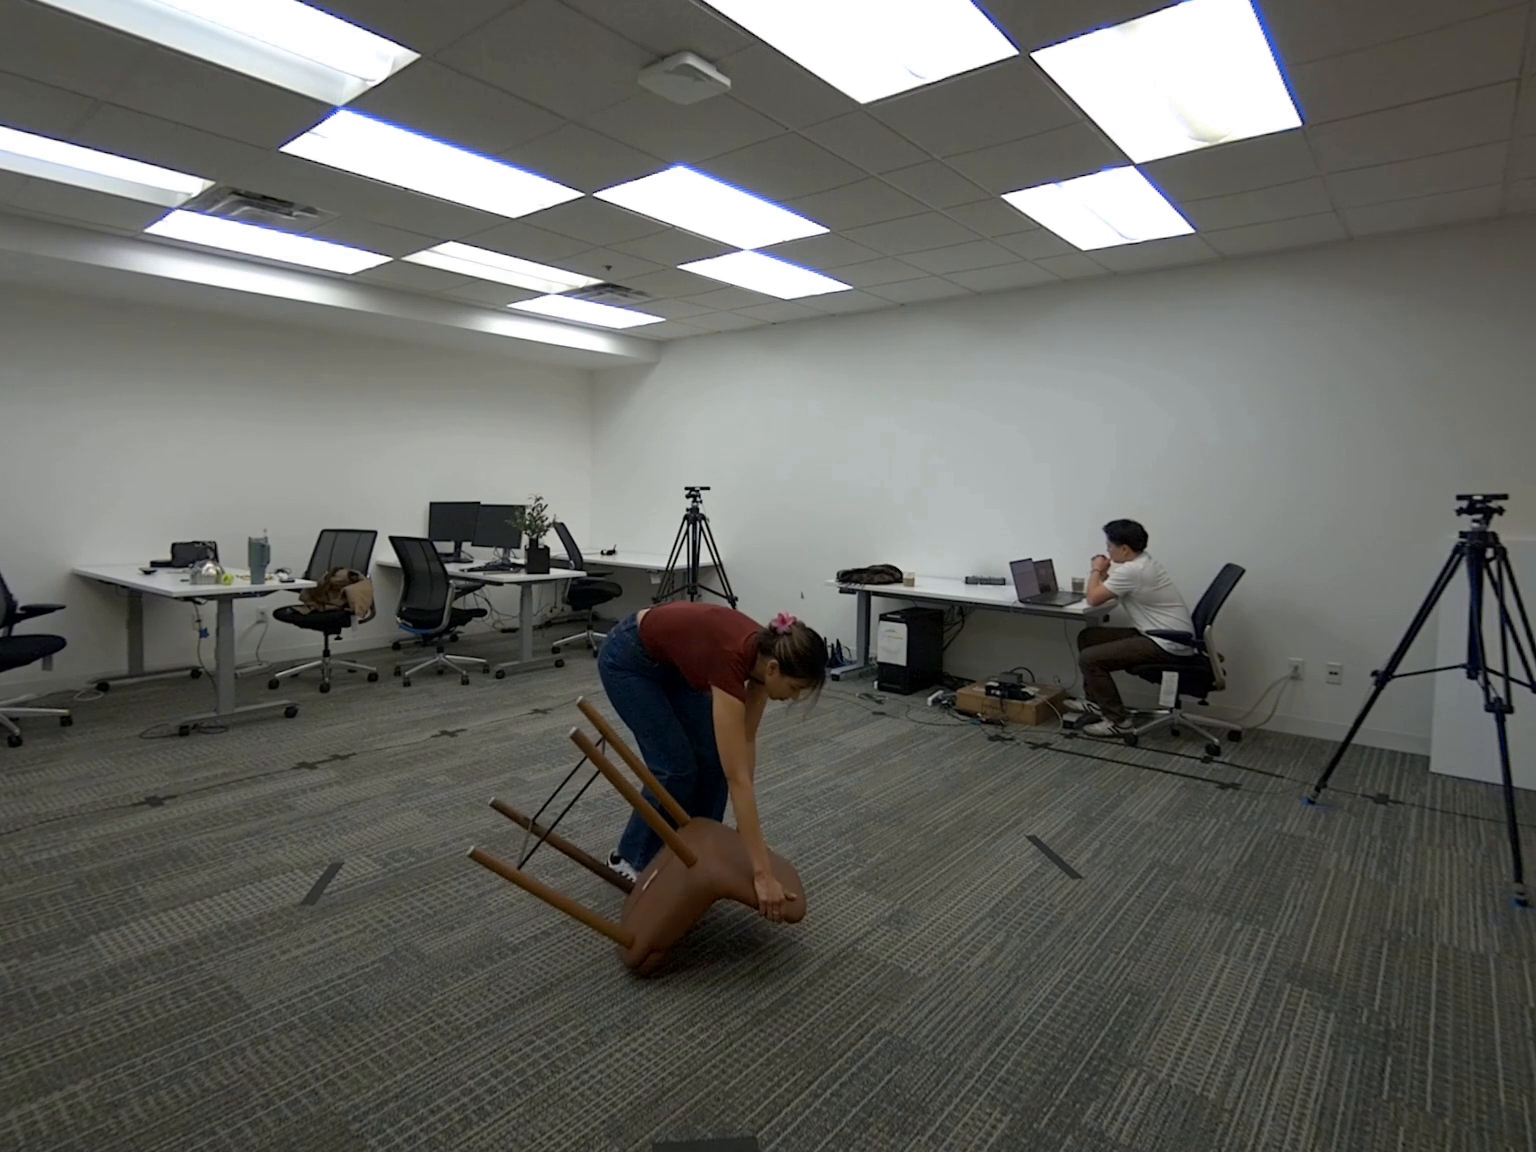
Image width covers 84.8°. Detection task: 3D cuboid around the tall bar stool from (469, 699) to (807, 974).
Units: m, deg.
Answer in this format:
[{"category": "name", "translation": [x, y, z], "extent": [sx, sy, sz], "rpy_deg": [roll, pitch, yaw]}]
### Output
[{"category": "tall bar stool", "translation": [-0.390, 0.837, 2.572], "extent": [0.881, 0.467, 0.461], "rpy_deg": [39, -2, -8]}]
